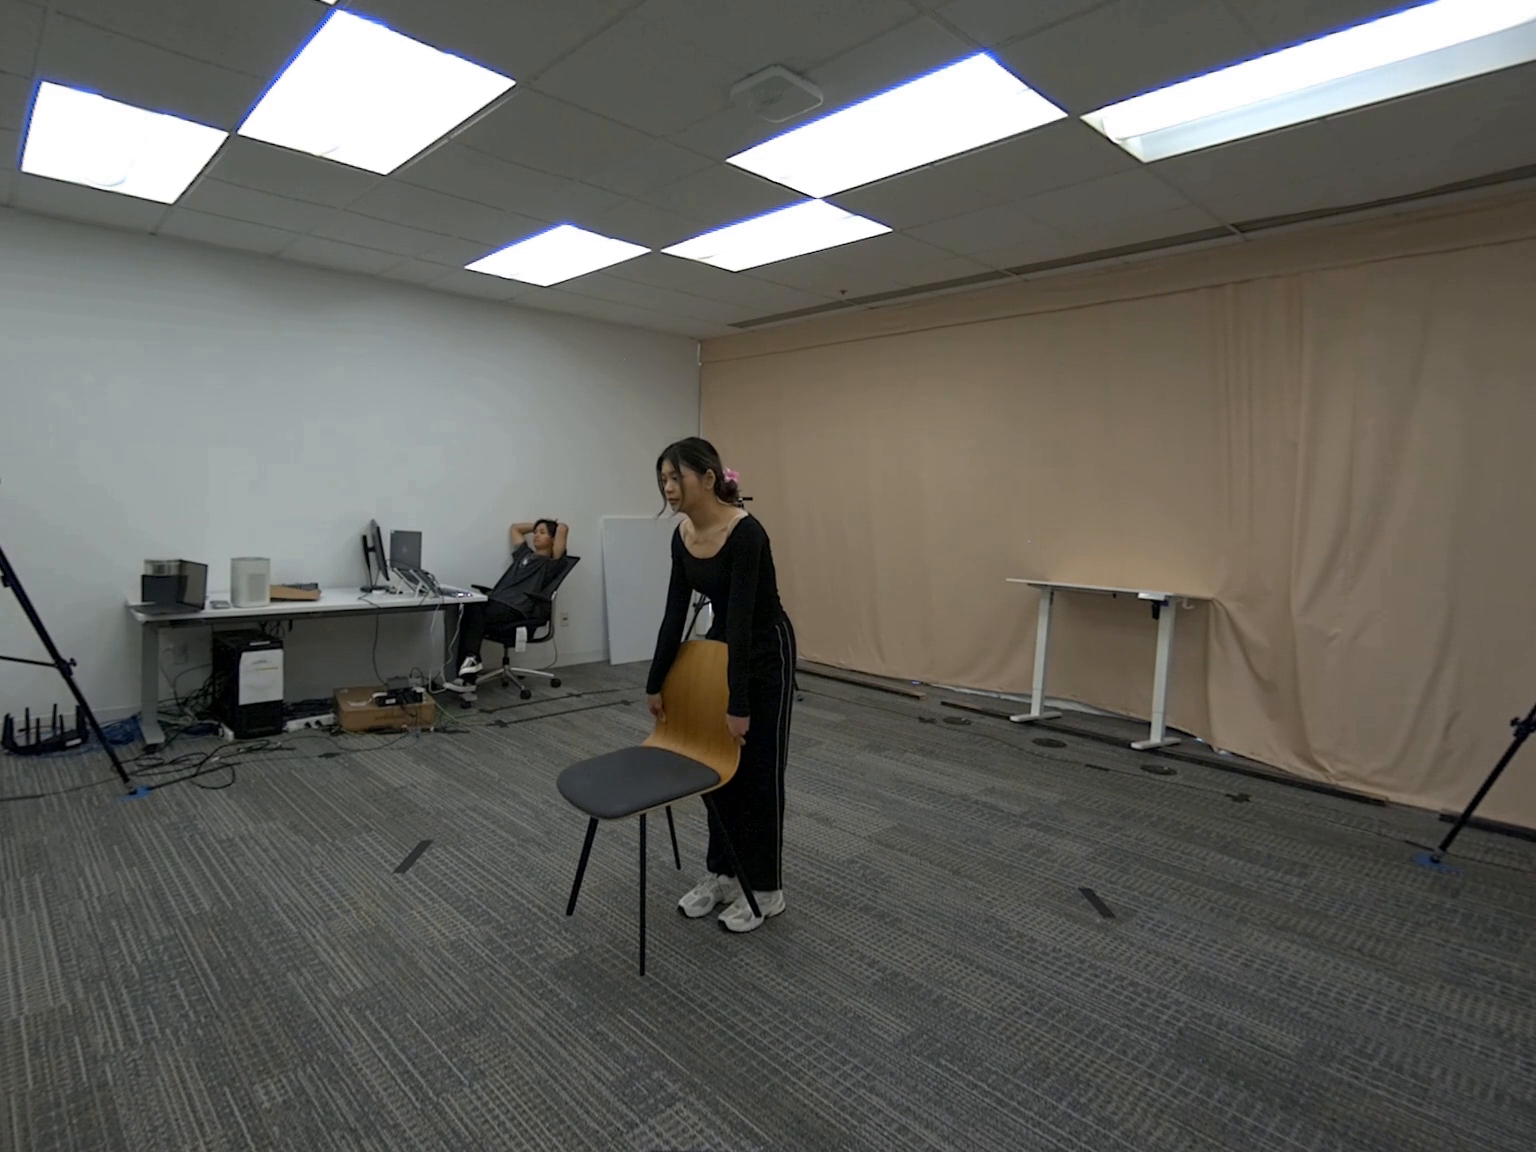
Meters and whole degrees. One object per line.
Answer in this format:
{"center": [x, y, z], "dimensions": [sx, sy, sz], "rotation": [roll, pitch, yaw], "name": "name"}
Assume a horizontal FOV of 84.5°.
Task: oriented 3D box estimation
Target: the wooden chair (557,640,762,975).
{"center": [-0.365, 0.667, 2.632], "dimensions": [0.511, 0.875, 0.490], "rotation": [-1, 4, -40], "name": "wooden chair"}
